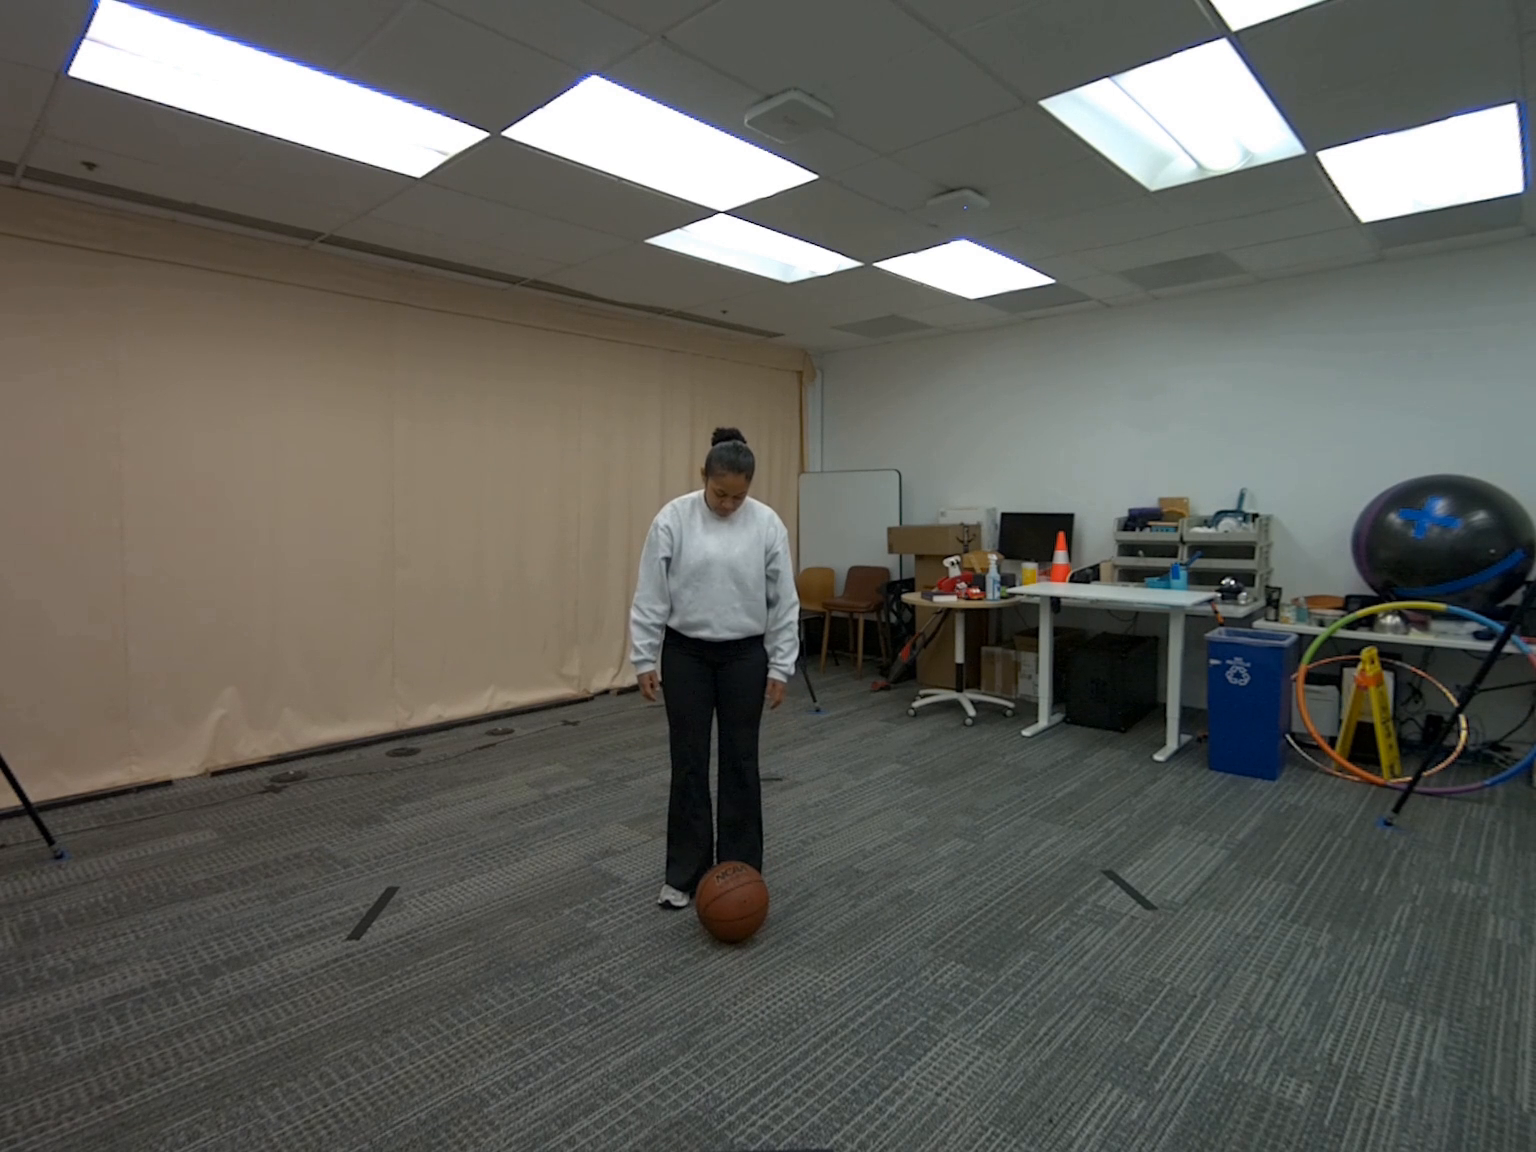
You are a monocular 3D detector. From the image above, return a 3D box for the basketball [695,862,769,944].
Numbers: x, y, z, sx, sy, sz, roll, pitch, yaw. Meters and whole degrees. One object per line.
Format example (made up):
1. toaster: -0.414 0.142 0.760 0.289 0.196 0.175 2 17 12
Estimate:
1. basketball: -0.116 1.042 2.717 0.236 0.235 0.237 0 4 -2
